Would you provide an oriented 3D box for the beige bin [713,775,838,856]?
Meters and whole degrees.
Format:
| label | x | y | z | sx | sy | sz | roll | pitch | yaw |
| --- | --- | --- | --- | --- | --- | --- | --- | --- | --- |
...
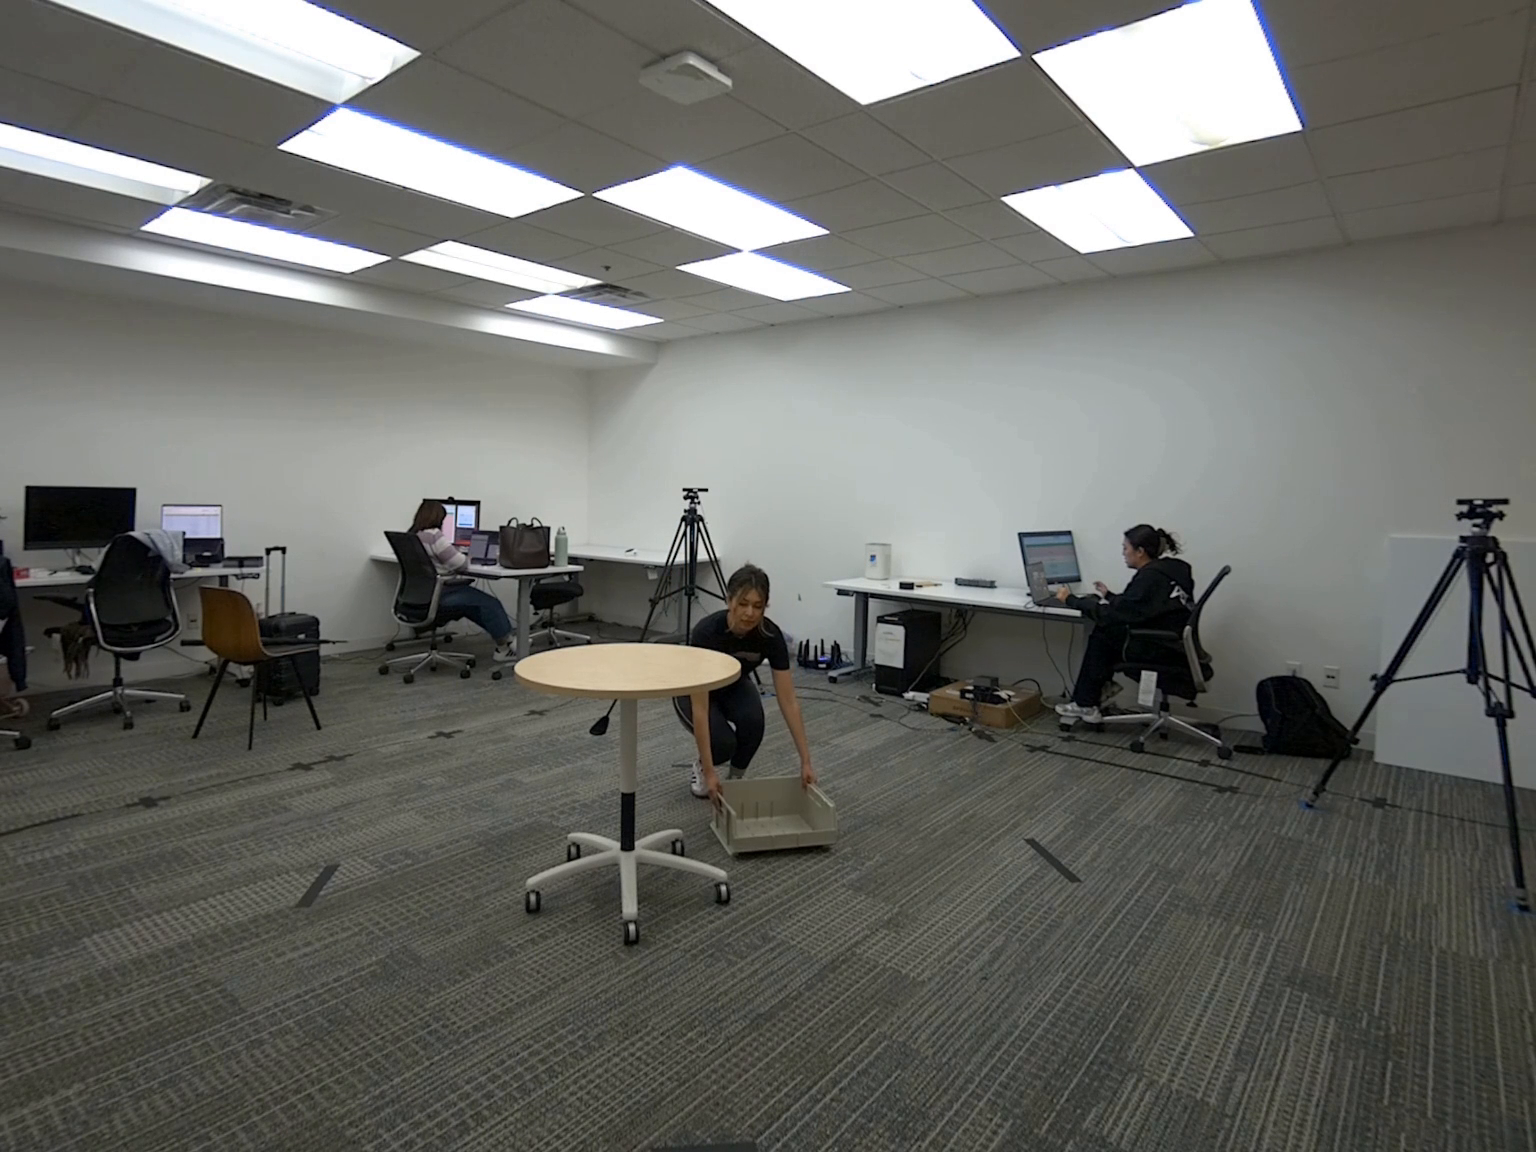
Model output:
| label | x | y | z | sx | sy | sz | roll | pitch | yaw |
| --- | --- | --- | --- | --- | --- | --- | --- | --- | --- |
| beige bin | 0.008 | 0.957 | 3.403 | 0.415 | 0.188 | 0.385 | 0 | 5 | -17 |
